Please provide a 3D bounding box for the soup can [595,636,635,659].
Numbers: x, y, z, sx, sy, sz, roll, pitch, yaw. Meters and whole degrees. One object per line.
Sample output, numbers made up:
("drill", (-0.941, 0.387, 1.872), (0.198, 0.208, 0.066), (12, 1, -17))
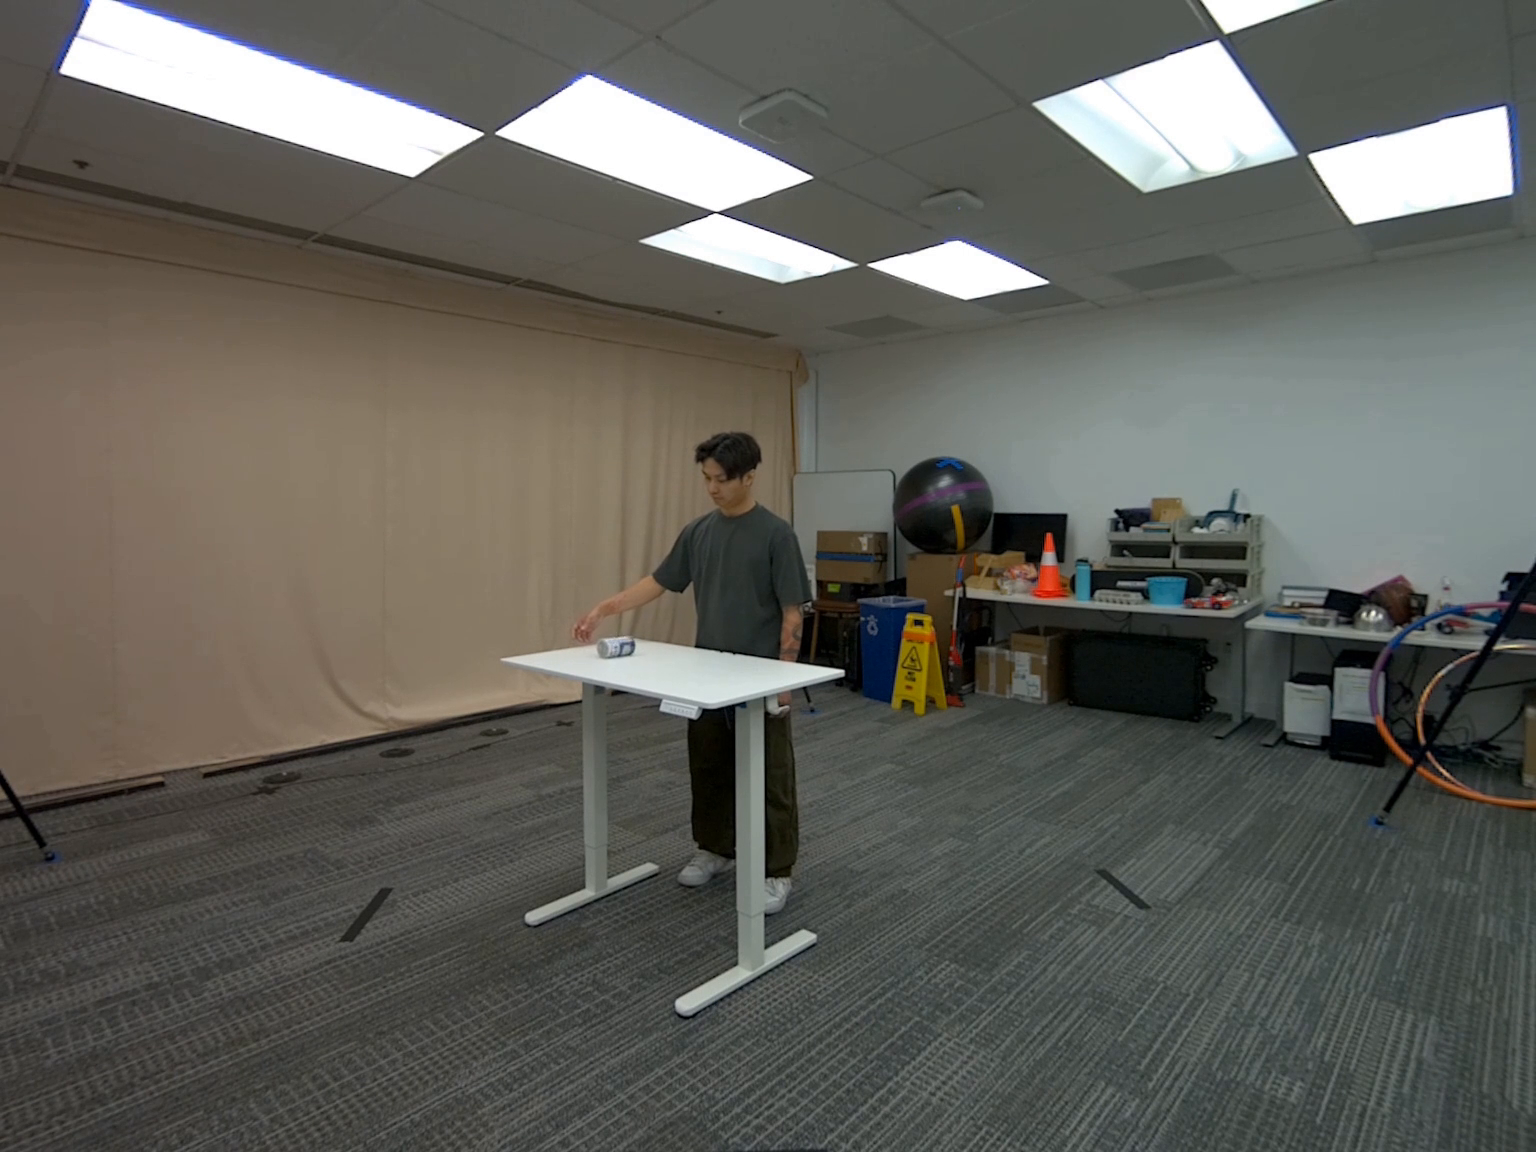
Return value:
("soup can", (-0.516, 0.243, 2.882), (0.118, 0.067, 0.069), (0, 3, -34))
